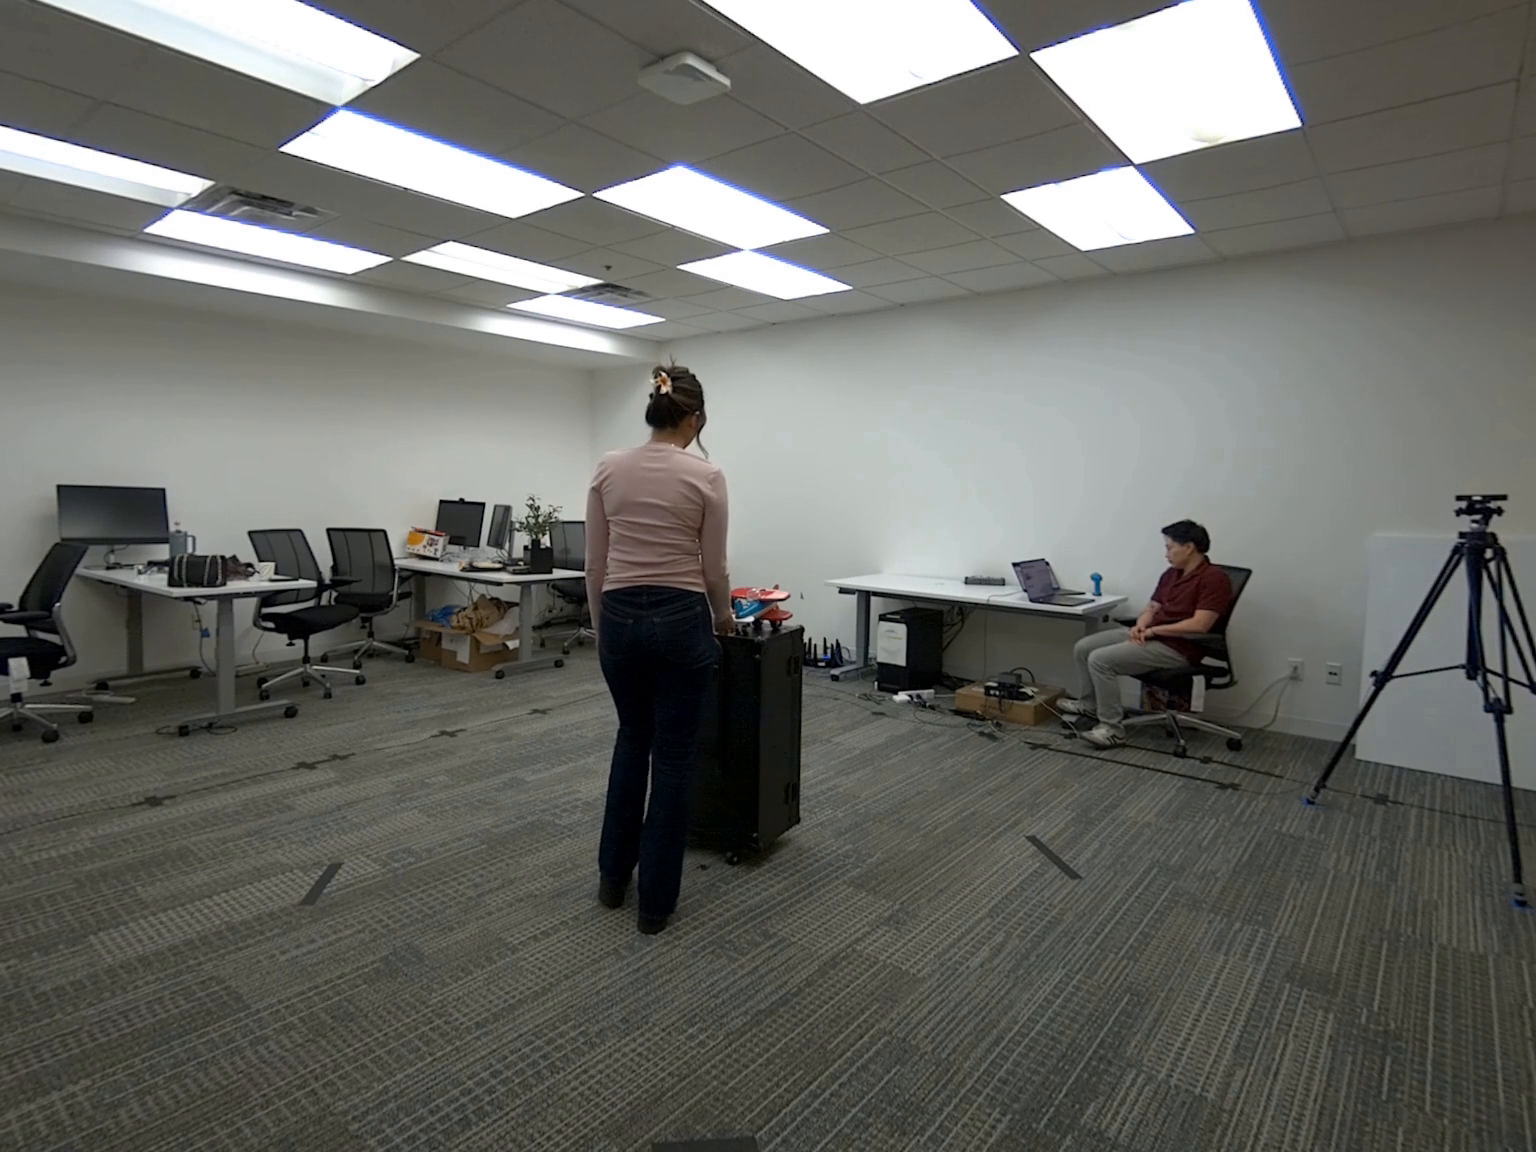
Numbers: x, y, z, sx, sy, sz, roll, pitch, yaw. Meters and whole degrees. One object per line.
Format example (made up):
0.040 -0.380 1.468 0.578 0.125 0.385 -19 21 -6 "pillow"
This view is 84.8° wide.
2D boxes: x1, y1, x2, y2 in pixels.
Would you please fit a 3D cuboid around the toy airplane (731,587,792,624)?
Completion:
-0.043 0.129 3.240 0.253 0.156 0.258 1 4 7 "toy airplane"
